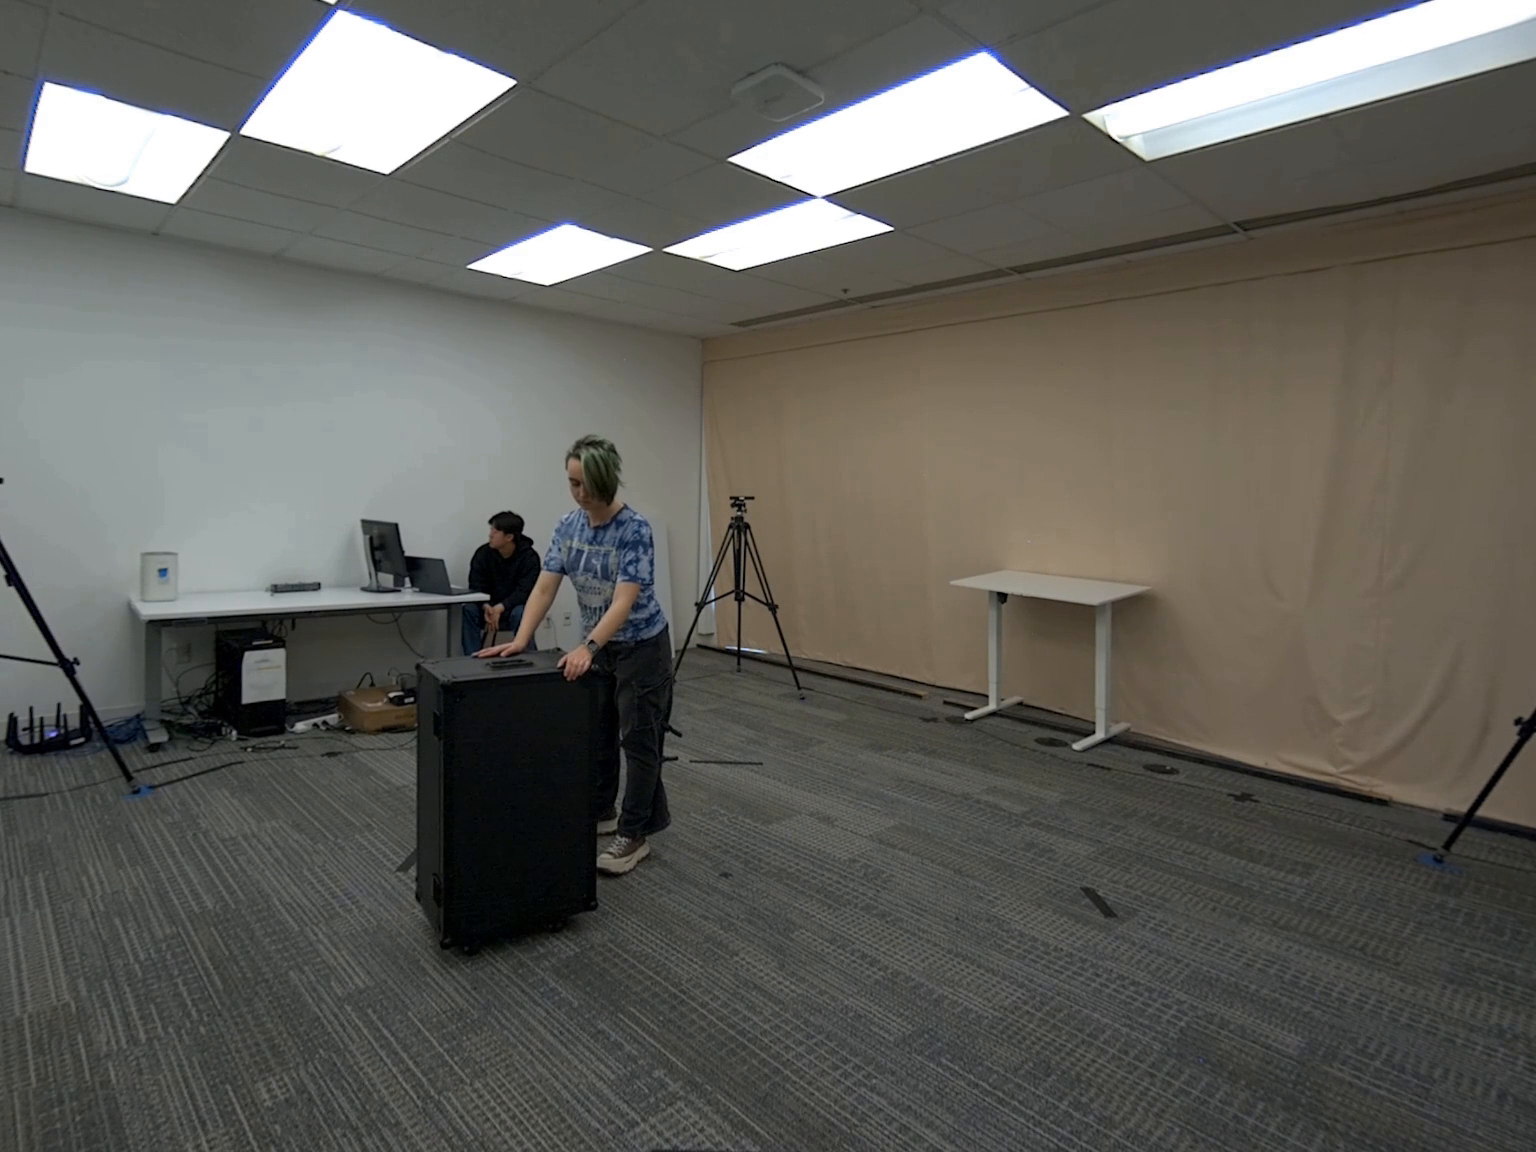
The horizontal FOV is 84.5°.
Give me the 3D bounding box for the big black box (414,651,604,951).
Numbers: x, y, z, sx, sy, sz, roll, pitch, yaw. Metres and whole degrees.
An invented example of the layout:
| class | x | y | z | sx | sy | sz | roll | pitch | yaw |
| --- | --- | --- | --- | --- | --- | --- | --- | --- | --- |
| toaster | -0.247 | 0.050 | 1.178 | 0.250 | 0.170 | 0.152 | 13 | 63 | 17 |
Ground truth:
| class | x | y | z | sx | sy | sz | roll | pitch | yaw |
| --- | --- | --- | --- | --- | --- | --- | --- | --- | --- |
| big black box | -0.853 | 0.705 | 2.684 | 0.510 | 0.860 | 0.405 | 0 | 3 | -32 |
